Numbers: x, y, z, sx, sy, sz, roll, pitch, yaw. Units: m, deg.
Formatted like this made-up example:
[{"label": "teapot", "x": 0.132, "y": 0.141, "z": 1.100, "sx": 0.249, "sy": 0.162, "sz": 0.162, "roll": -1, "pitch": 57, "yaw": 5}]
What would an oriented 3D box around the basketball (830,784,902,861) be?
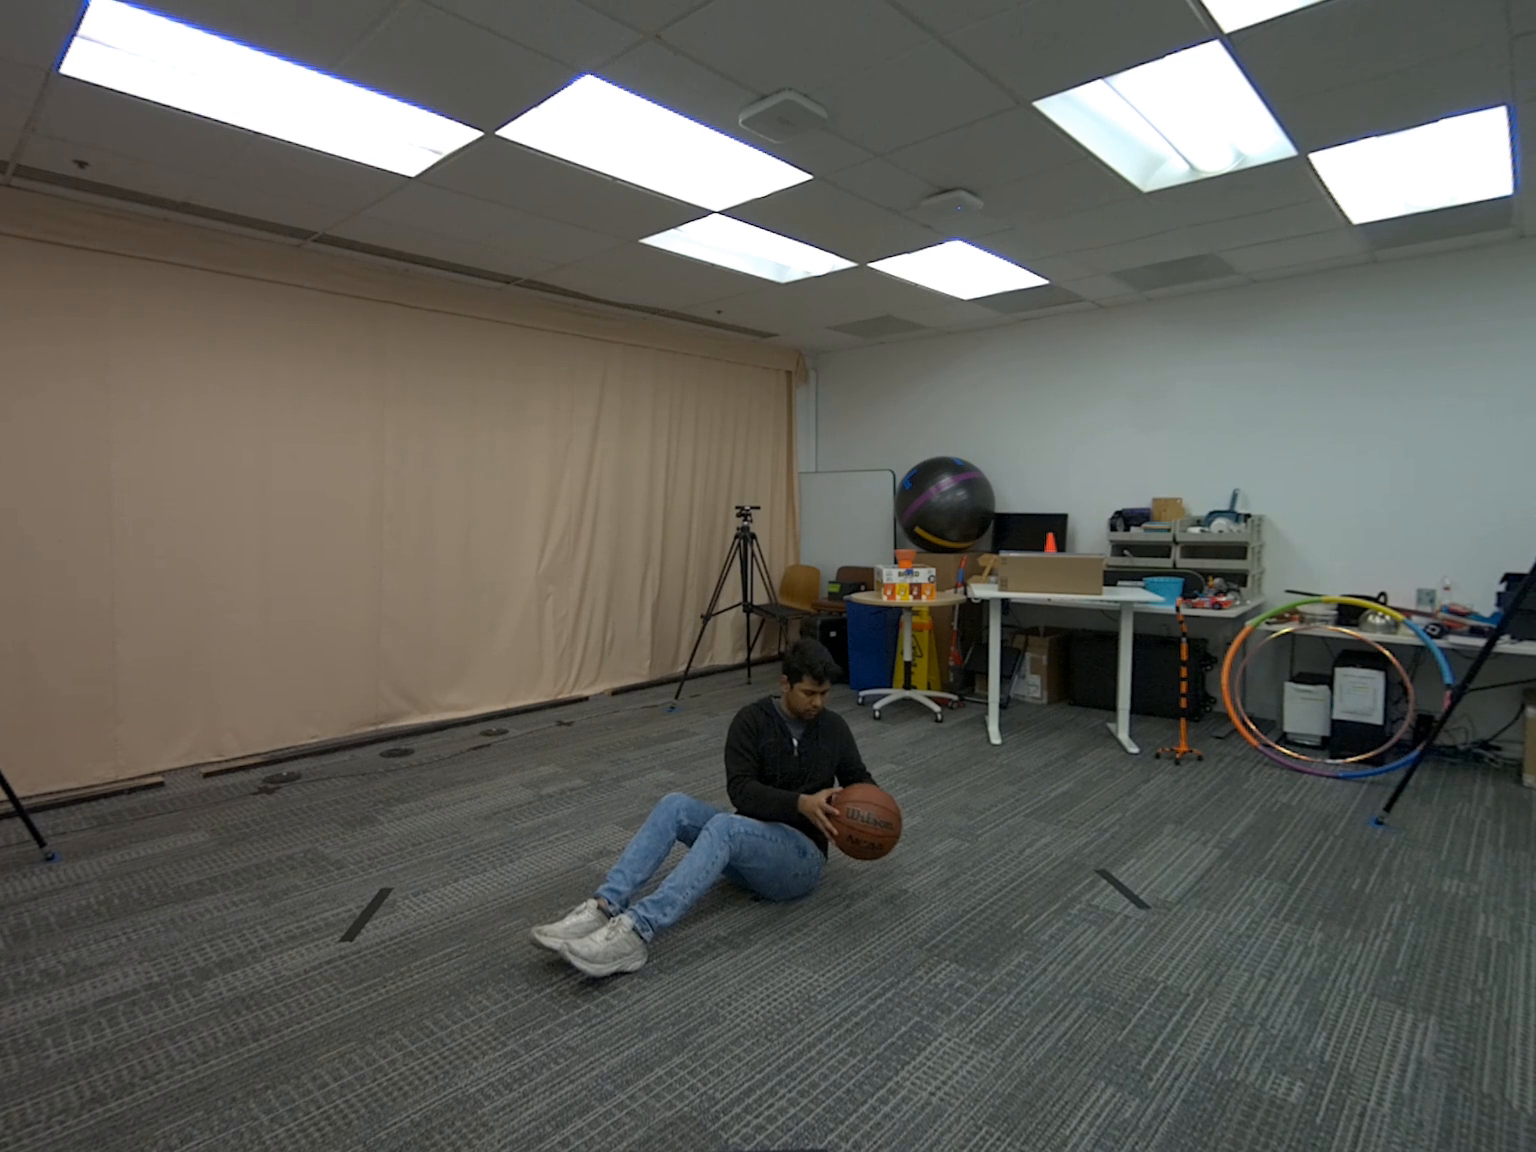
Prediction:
[{"label": "basketball", "x": 0.295, "y": 0.789, "z": 2.730, "sx": 0.236, "sy": 0.235, "sz": 0.237, "roll": 0, "pitch": 4, "yaw": -2}]
